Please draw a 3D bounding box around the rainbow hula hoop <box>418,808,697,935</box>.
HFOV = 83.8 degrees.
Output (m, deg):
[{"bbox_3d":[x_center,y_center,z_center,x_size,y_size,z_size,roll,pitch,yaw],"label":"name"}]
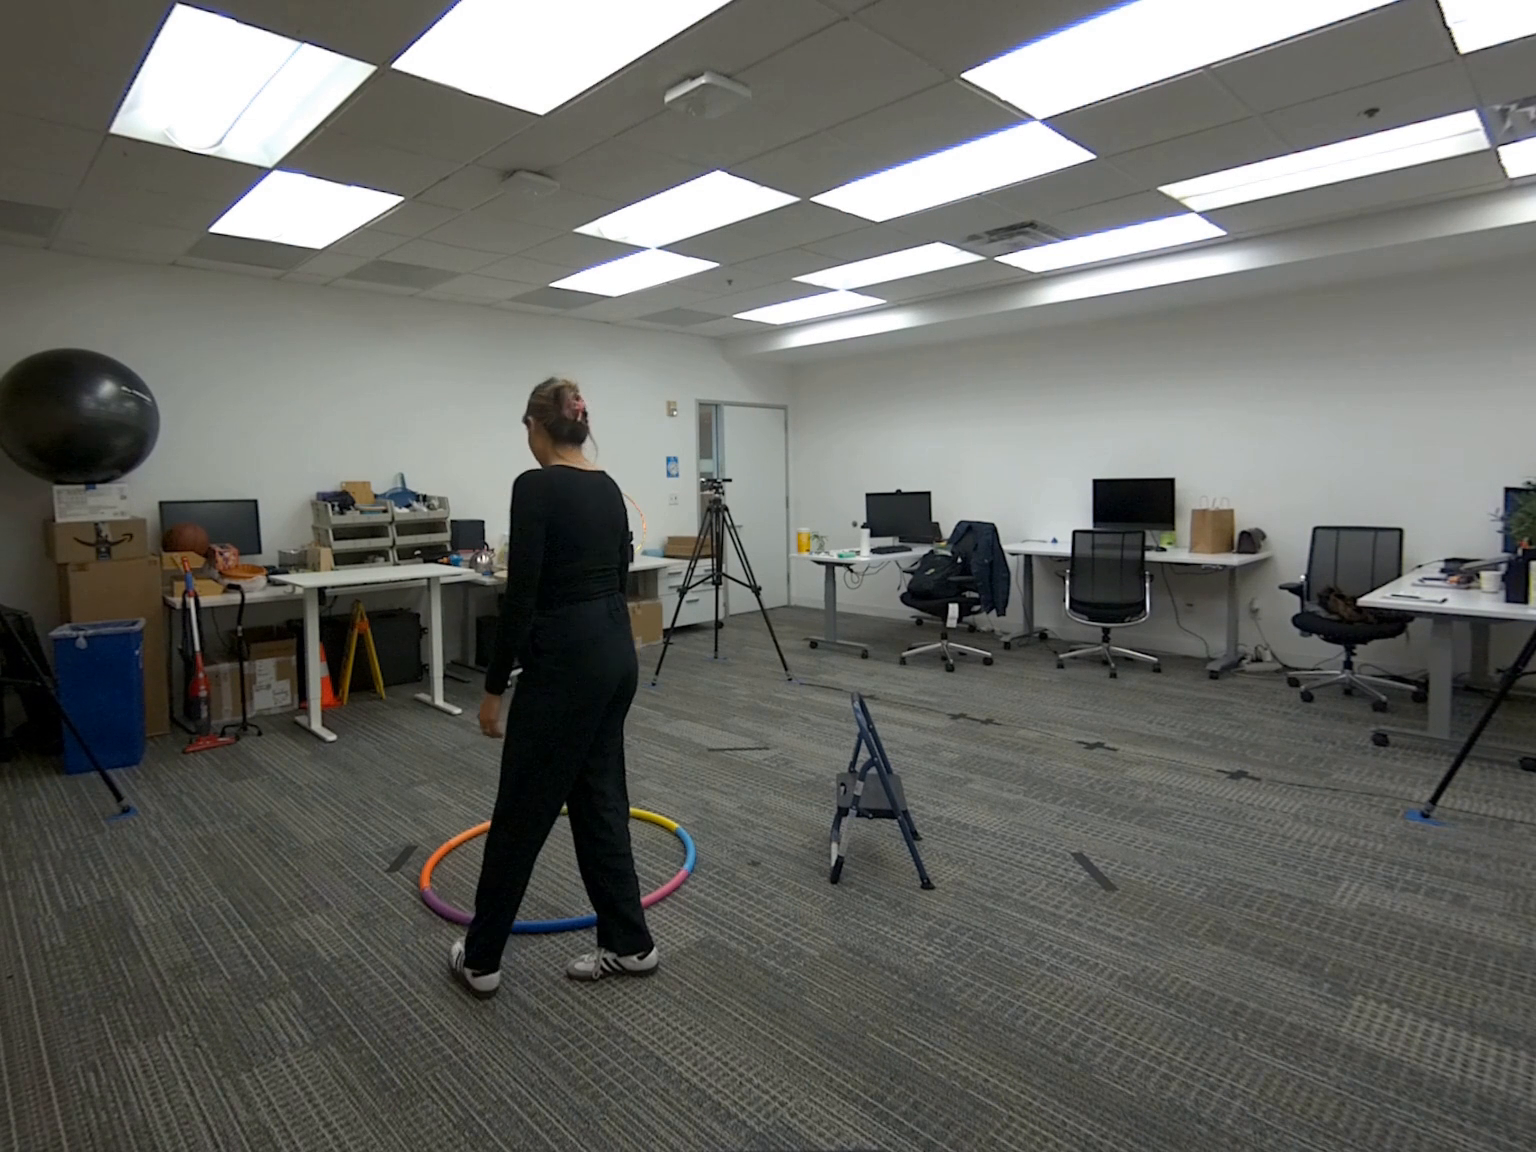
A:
[{"bbox_3d":[-0.747,1.021,3.132,0.978,0.035,0.984,-1,7,-2],"label":"rainbow hula hoop"}]
